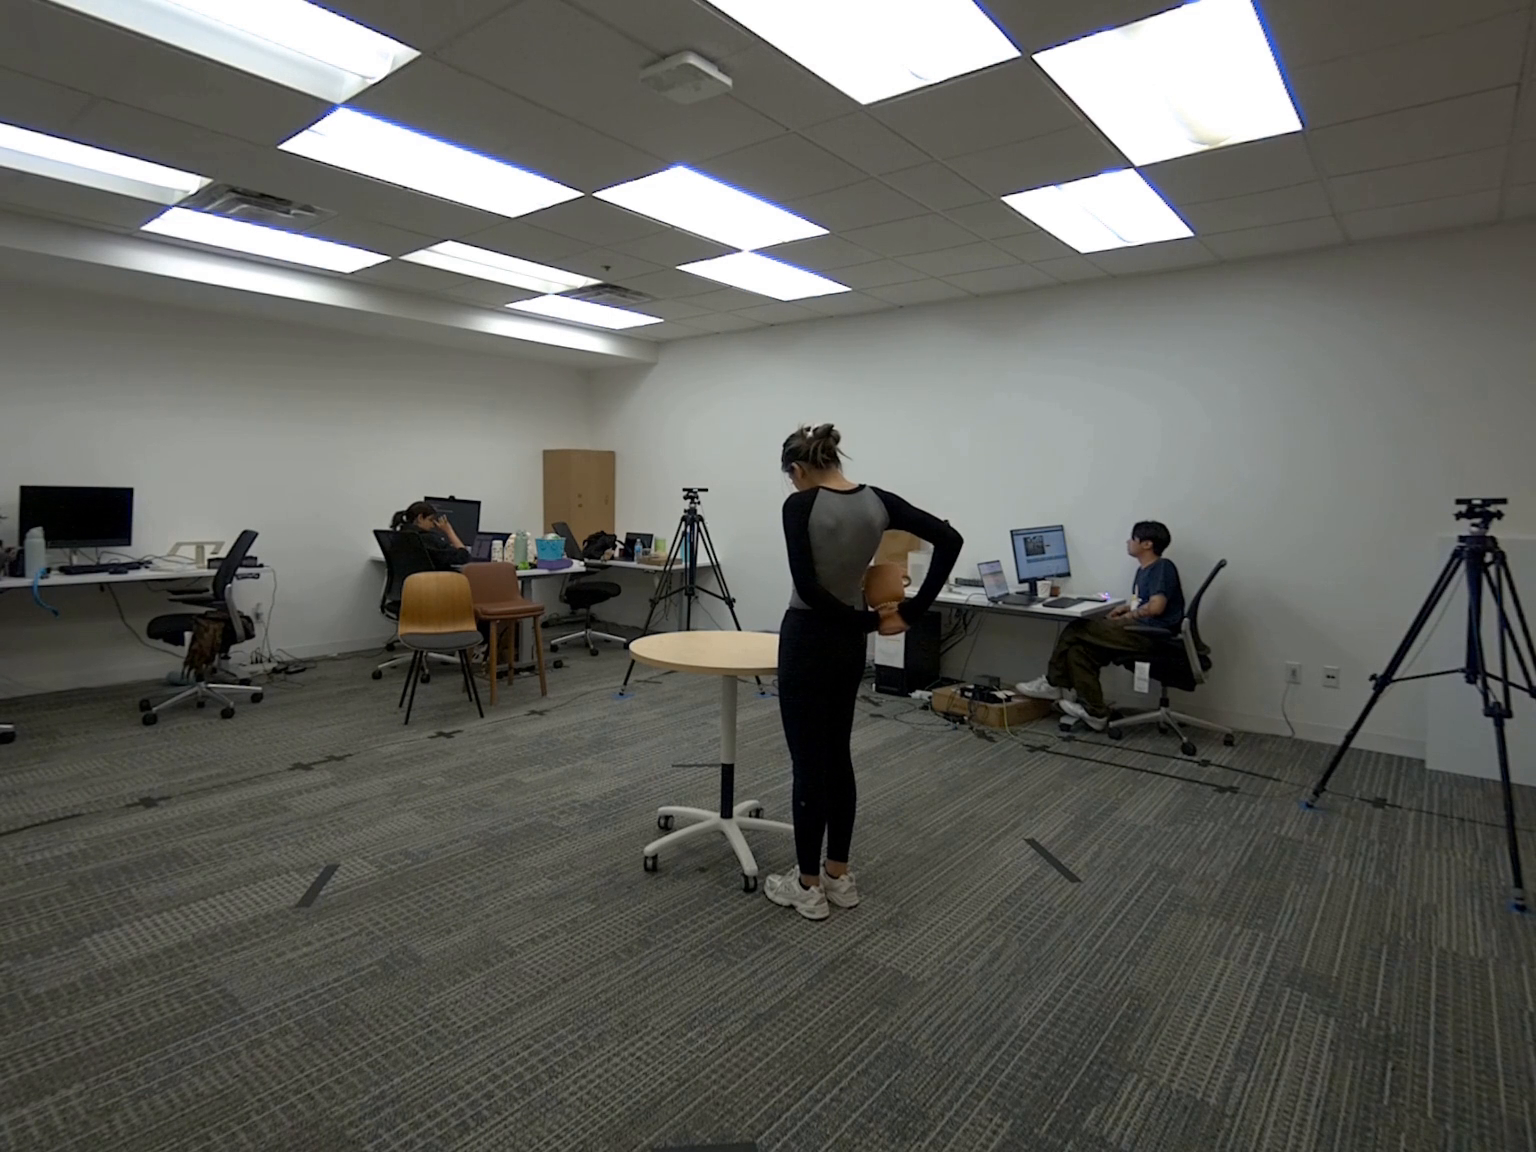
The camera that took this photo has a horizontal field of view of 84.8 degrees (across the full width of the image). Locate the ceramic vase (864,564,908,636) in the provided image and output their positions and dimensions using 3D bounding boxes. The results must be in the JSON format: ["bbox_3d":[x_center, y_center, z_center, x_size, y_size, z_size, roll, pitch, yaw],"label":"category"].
[{"bbox_3d":[0.393,0.081,2.877,0.161,0.225,0.129,-25,-28,38],"label":"ceramic vase"}]
